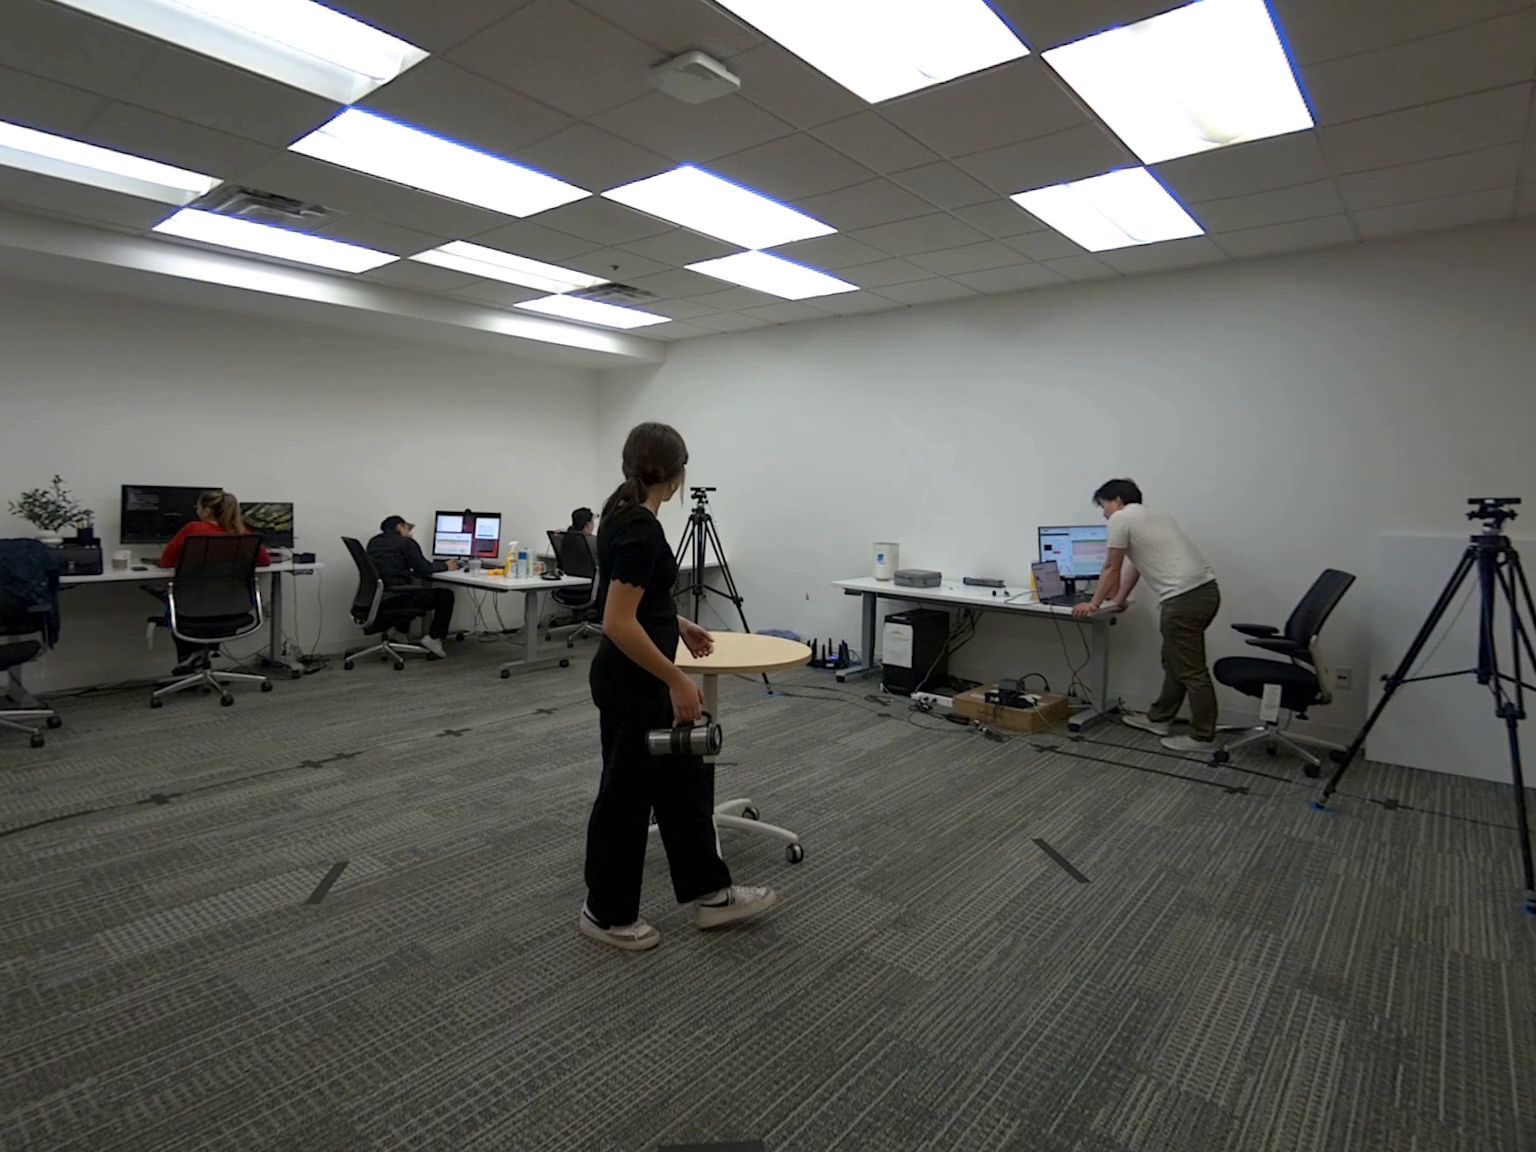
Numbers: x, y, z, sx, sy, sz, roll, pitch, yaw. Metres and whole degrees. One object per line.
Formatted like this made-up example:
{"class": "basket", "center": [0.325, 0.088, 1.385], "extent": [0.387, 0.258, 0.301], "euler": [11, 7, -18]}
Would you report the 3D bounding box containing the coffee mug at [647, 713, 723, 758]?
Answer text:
{"class": "coffee mug", "center": [-0.243, 0.435, 2.396], "extent": [0.206, 0.125, 0.084], "euler": [-5, -39, 14]}
